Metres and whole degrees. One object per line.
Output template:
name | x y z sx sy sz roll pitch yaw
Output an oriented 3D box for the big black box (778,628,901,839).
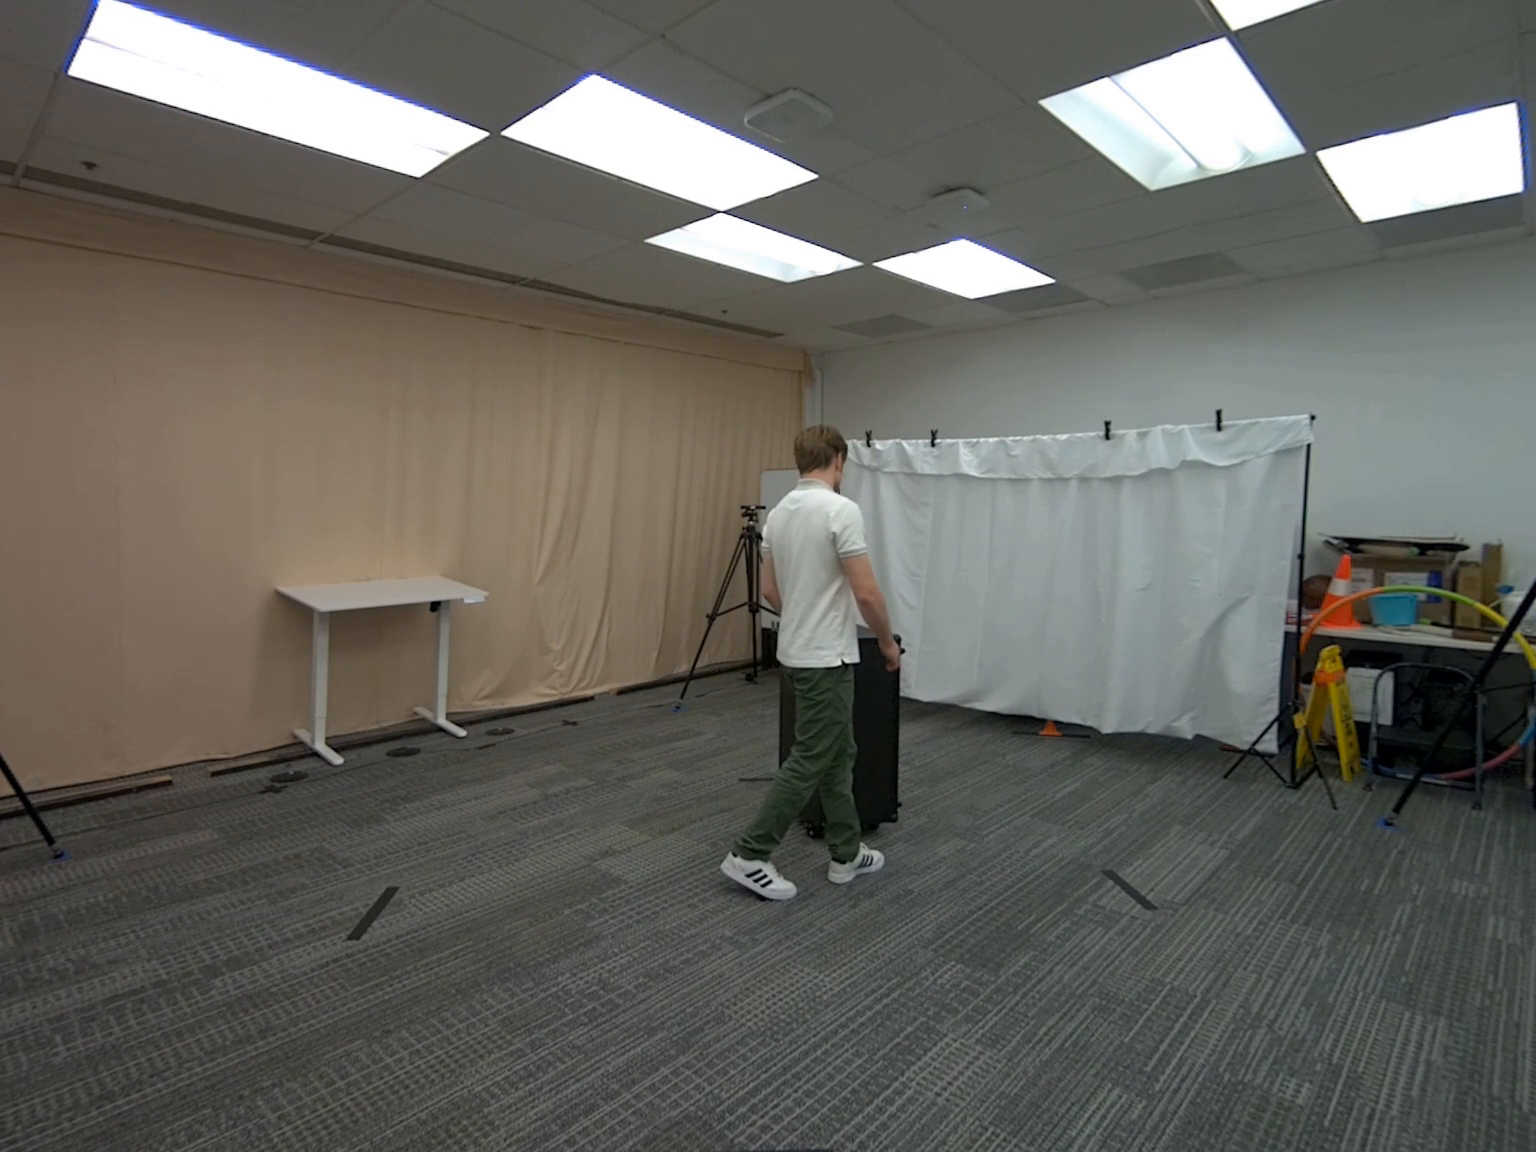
big black box | 0.307 0.666 3.691 0.379 0.867 0.533 0 3 -17
